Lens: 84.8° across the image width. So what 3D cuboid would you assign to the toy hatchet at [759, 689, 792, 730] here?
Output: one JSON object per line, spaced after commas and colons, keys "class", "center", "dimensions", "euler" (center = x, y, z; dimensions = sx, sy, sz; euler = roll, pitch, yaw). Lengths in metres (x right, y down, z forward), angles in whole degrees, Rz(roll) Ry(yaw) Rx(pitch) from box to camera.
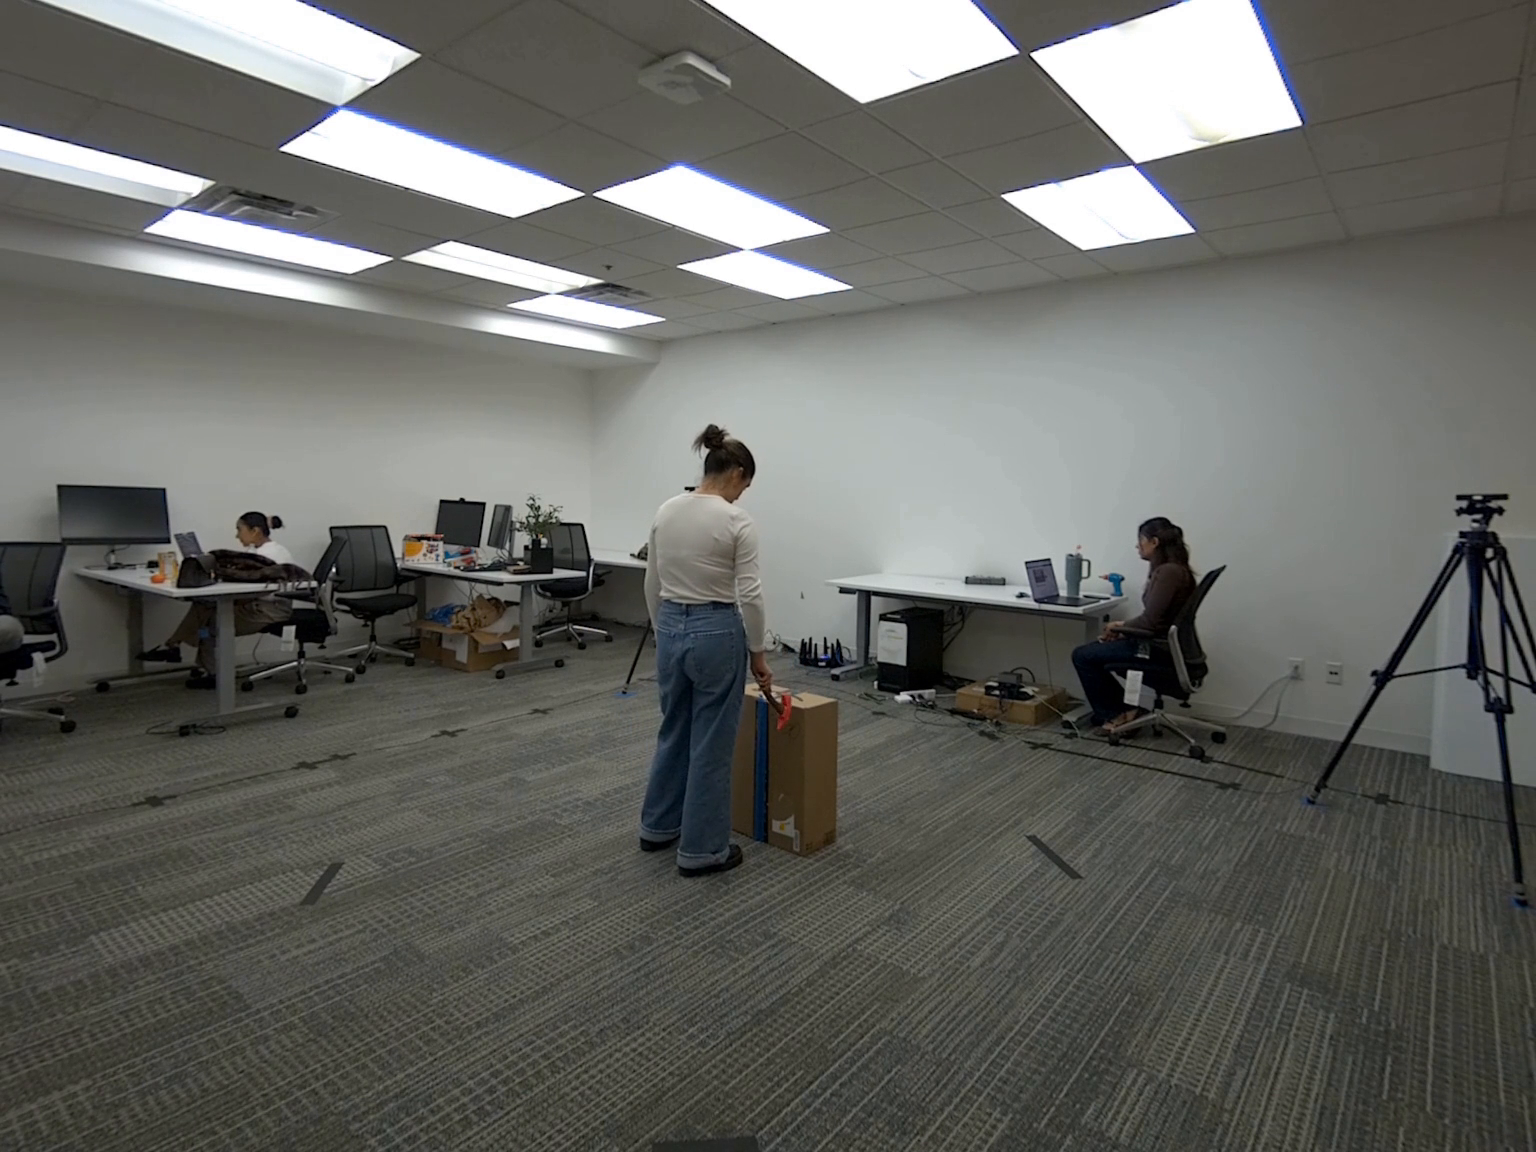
{"class": "toy hatchet", "center": [0.050, 0.405, 3.132], "dimensions": [0.030, 0.260, 0.131], "euler": [5, 45, 39]}
